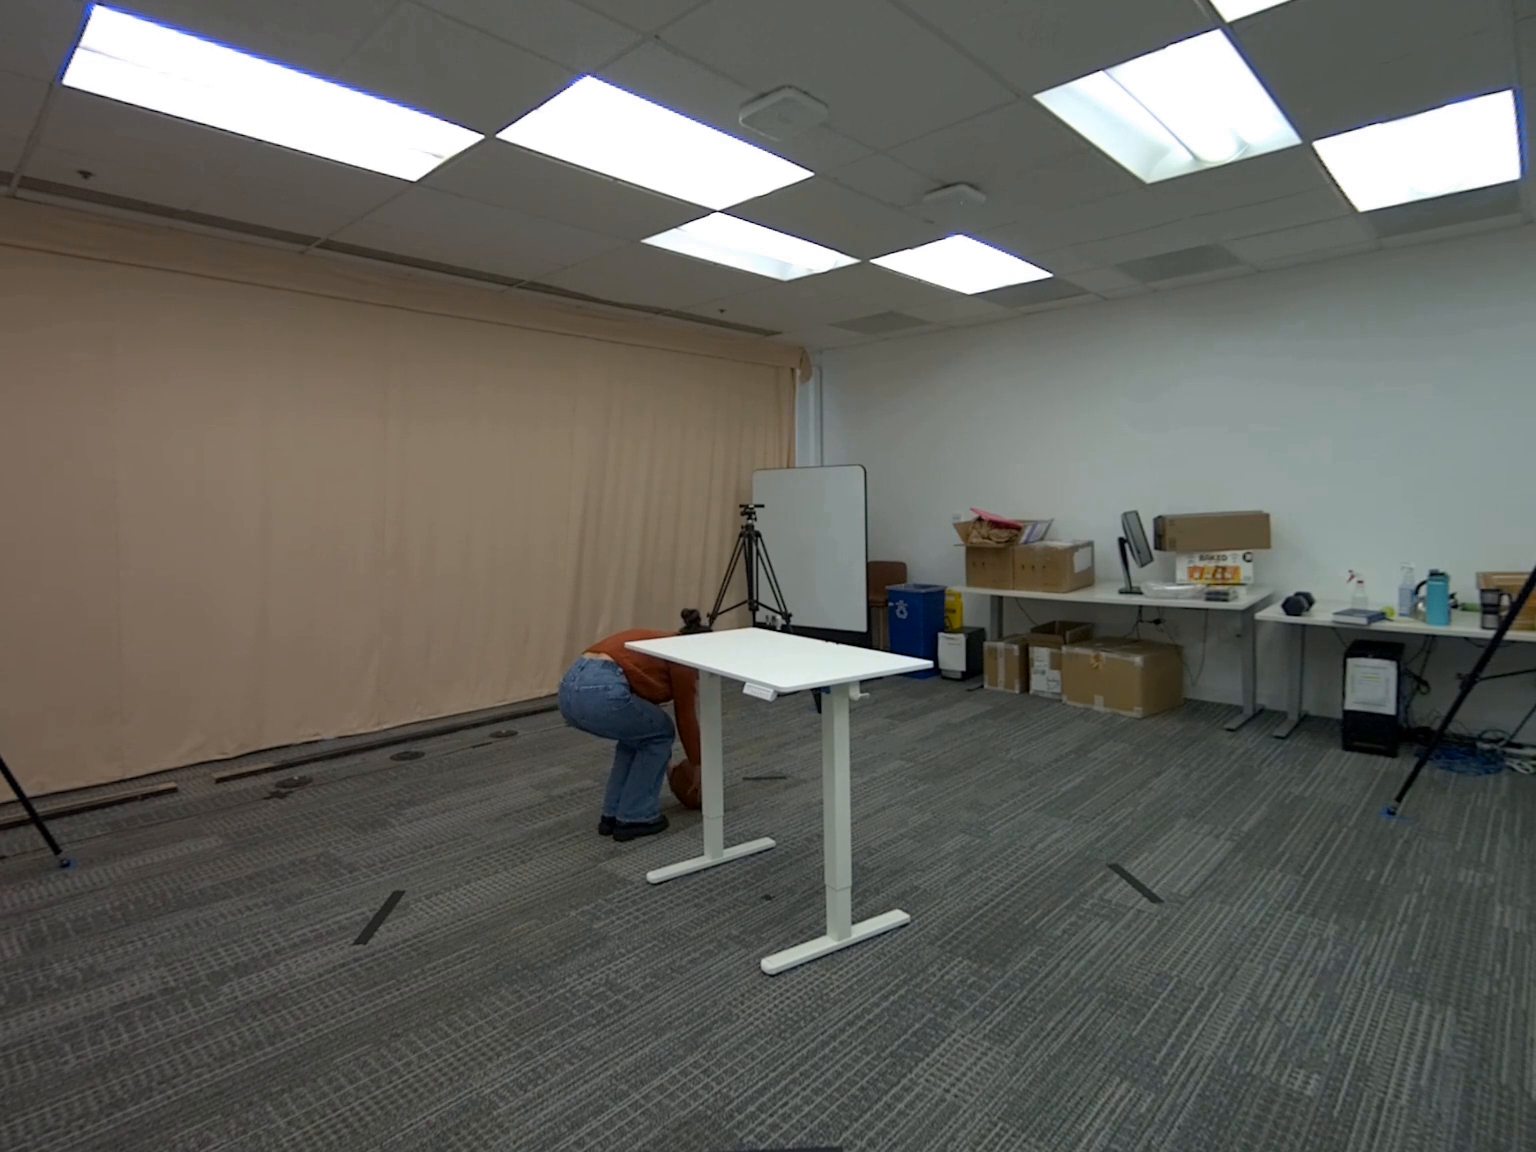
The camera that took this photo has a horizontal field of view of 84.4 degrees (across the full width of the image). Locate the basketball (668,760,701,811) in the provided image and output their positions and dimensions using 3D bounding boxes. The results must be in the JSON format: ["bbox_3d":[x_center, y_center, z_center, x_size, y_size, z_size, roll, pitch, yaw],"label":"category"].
[{"bbox_3d":[-0.332,0.935,3.887,0.236,0.235,0.237,-1,4,-2],"label":"basketball"}]
